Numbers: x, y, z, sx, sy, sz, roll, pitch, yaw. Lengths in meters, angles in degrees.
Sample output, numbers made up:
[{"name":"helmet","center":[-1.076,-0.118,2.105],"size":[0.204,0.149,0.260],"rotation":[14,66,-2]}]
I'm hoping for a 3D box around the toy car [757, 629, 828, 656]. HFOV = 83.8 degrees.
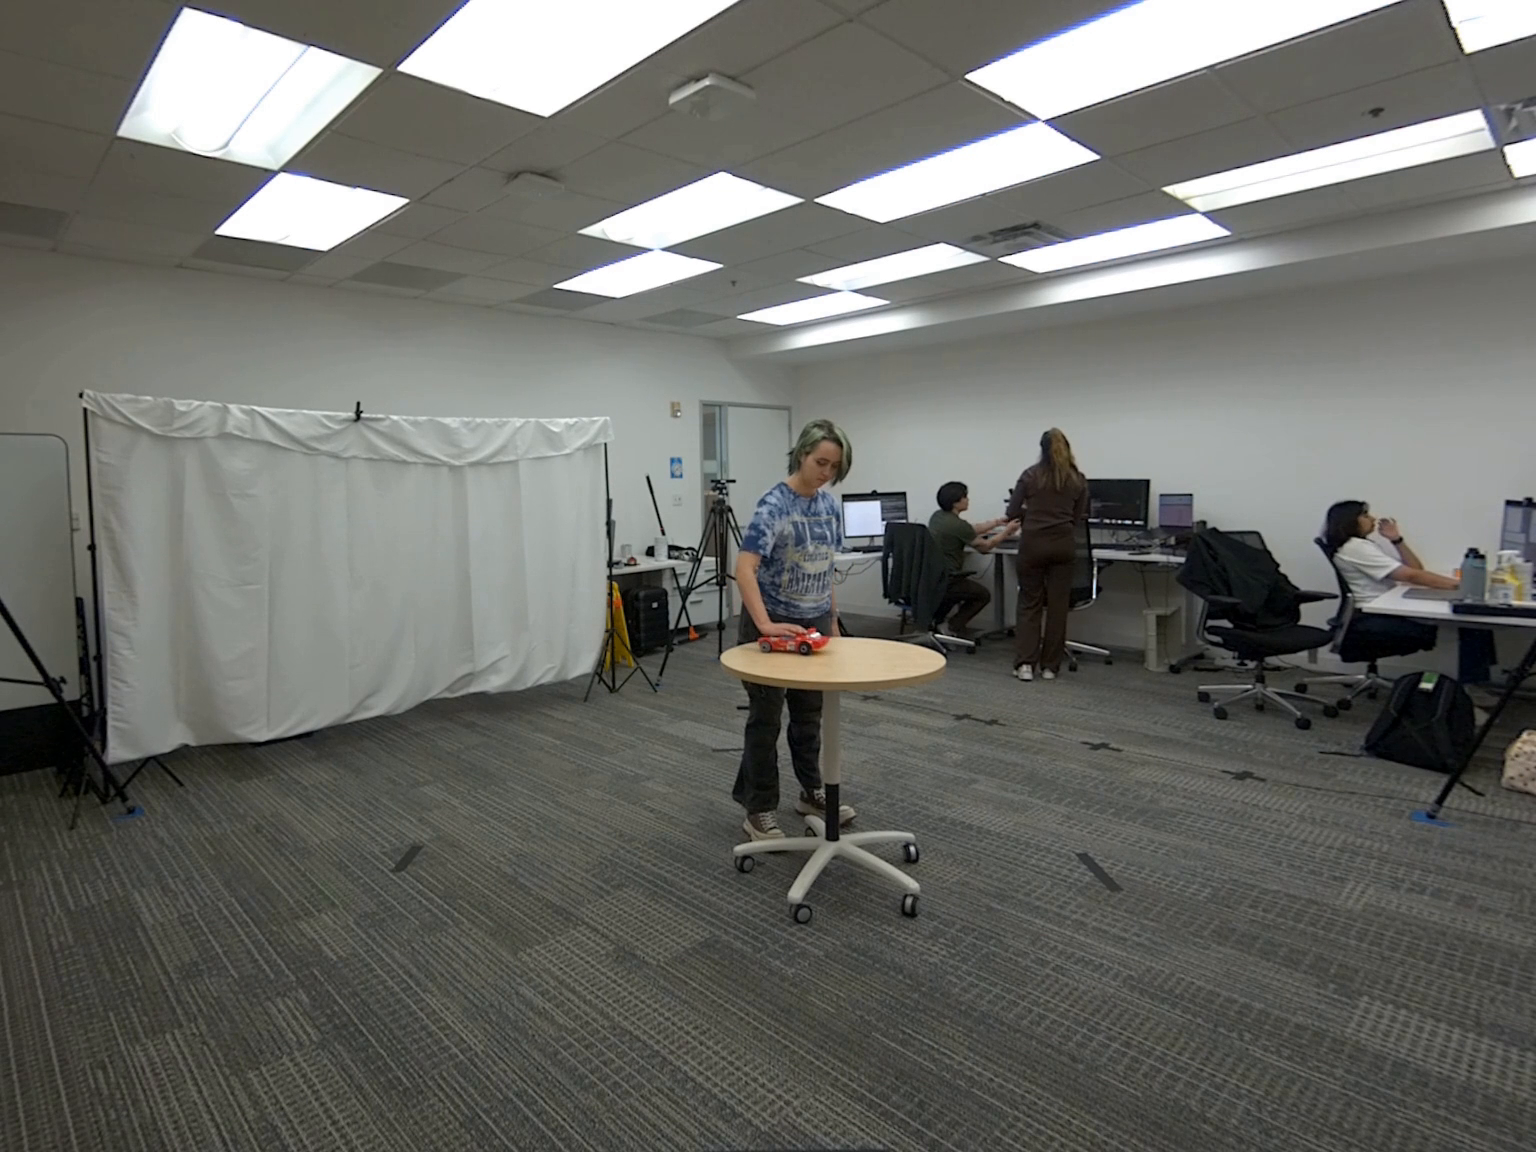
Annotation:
[{"name":"toy car","center":[0.106,0.242,3.028],"size":[0.259,0.083,0.128],"rotation":[-10,0,23]}]
